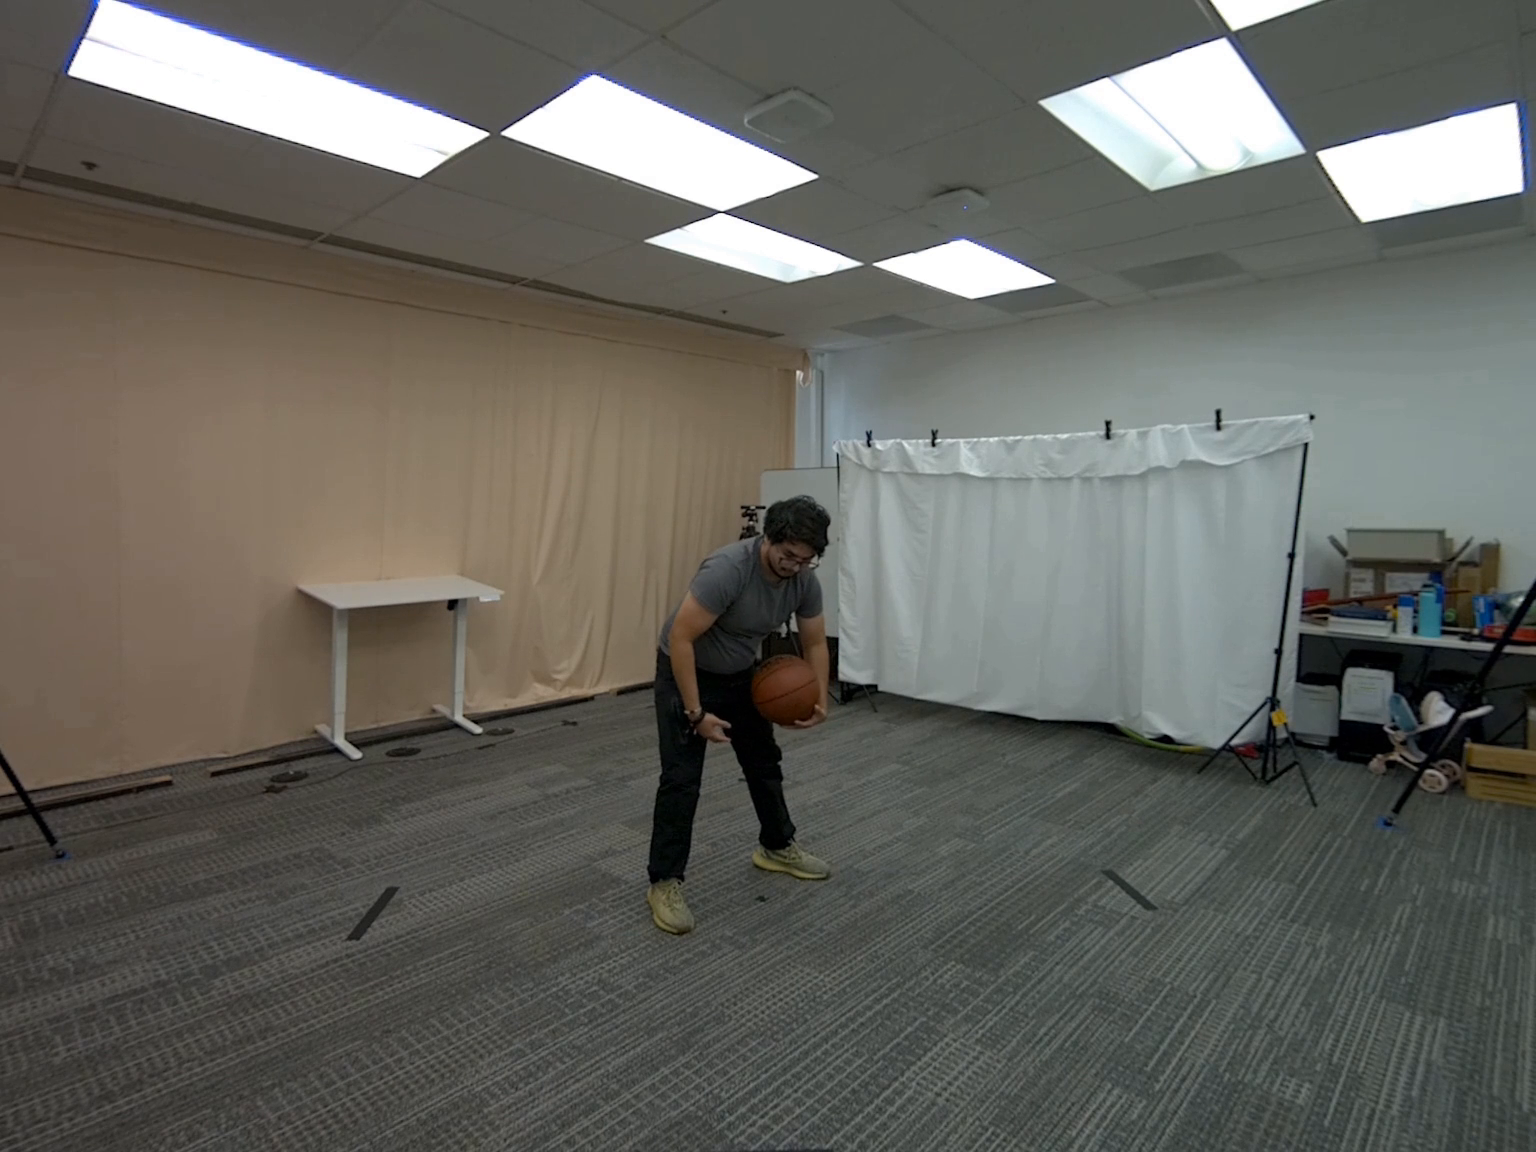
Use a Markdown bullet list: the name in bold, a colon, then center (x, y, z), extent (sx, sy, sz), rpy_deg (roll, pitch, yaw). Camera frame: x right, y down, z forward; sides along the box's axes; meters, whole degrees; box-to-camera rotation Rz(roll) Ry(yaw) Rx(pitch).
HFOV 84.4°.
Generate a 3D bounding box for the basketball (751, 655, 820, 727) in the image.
- **basketball**: center (0.063, 0.392, 2.895), extent (0.236, 0.235, 0.237), rpy_deg (0, 4, -2)
